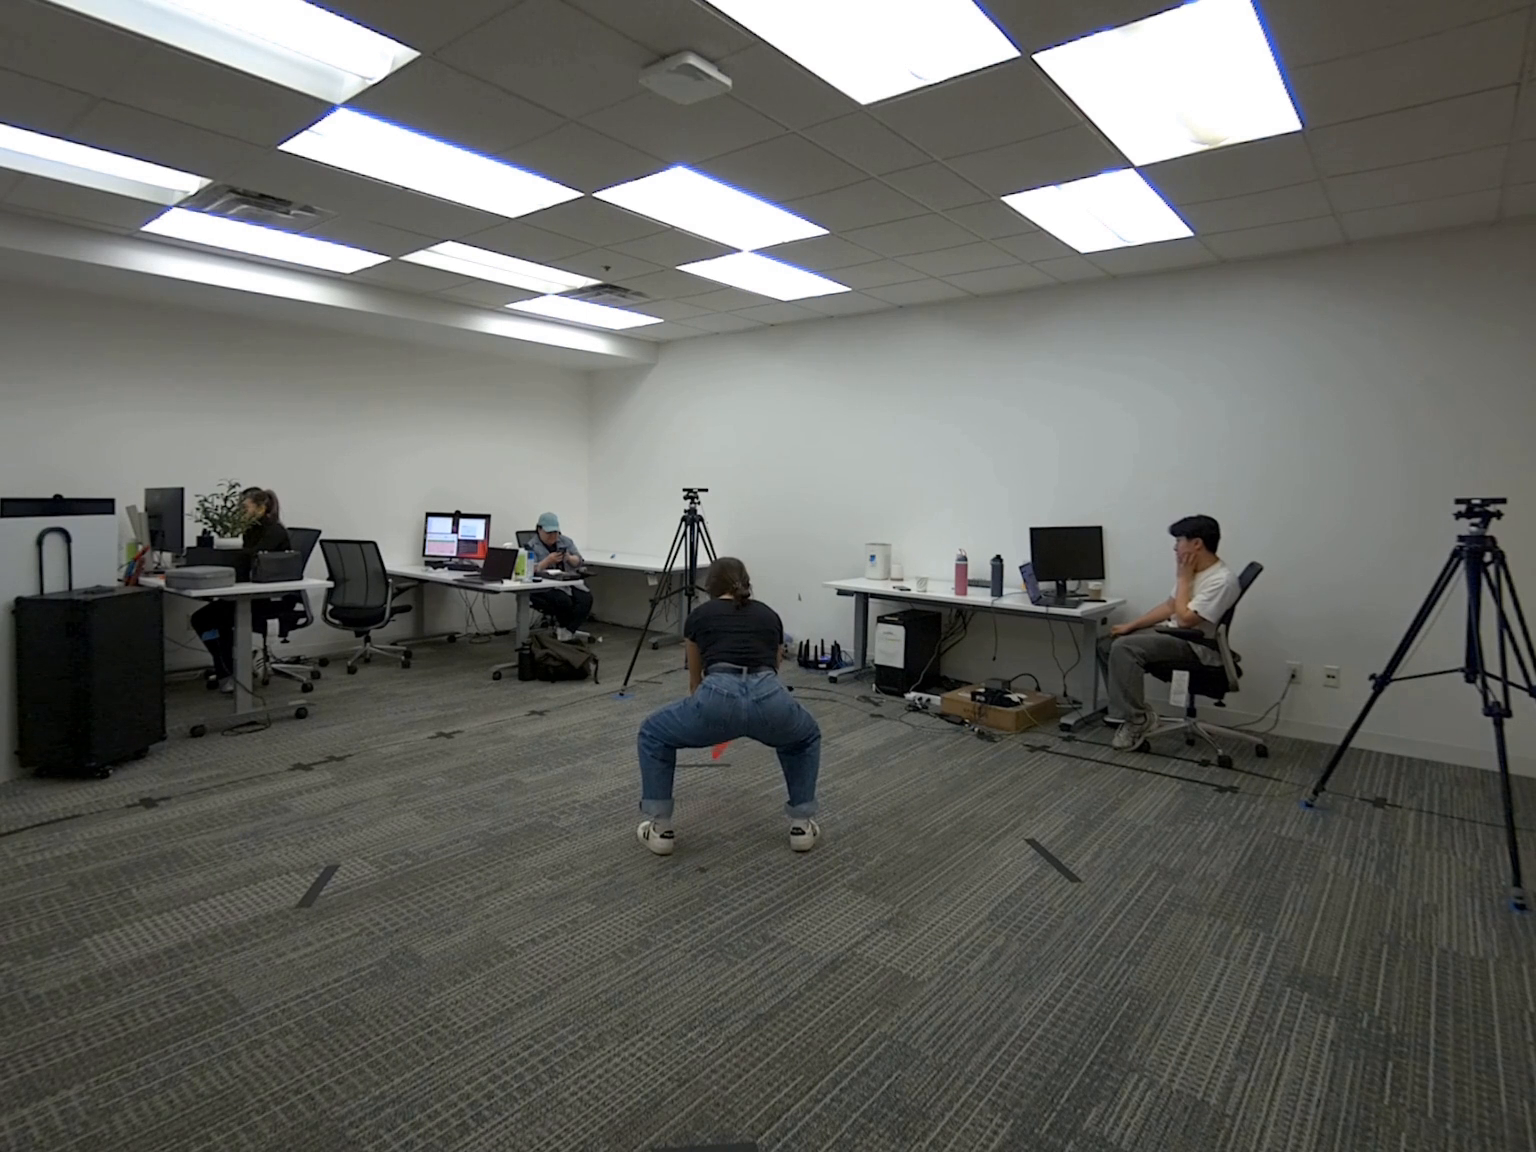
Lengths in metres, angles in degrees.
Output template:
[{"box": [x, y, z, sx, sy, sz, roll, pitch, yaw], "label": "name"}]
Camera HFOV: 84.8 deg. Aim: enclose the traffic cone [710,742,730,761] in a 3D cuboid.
[{"box": [-0.216, 0.730, 3.890, 0.200, 0.212, 0.376, -7, -35, -17], "label": "traffic cone"}]
